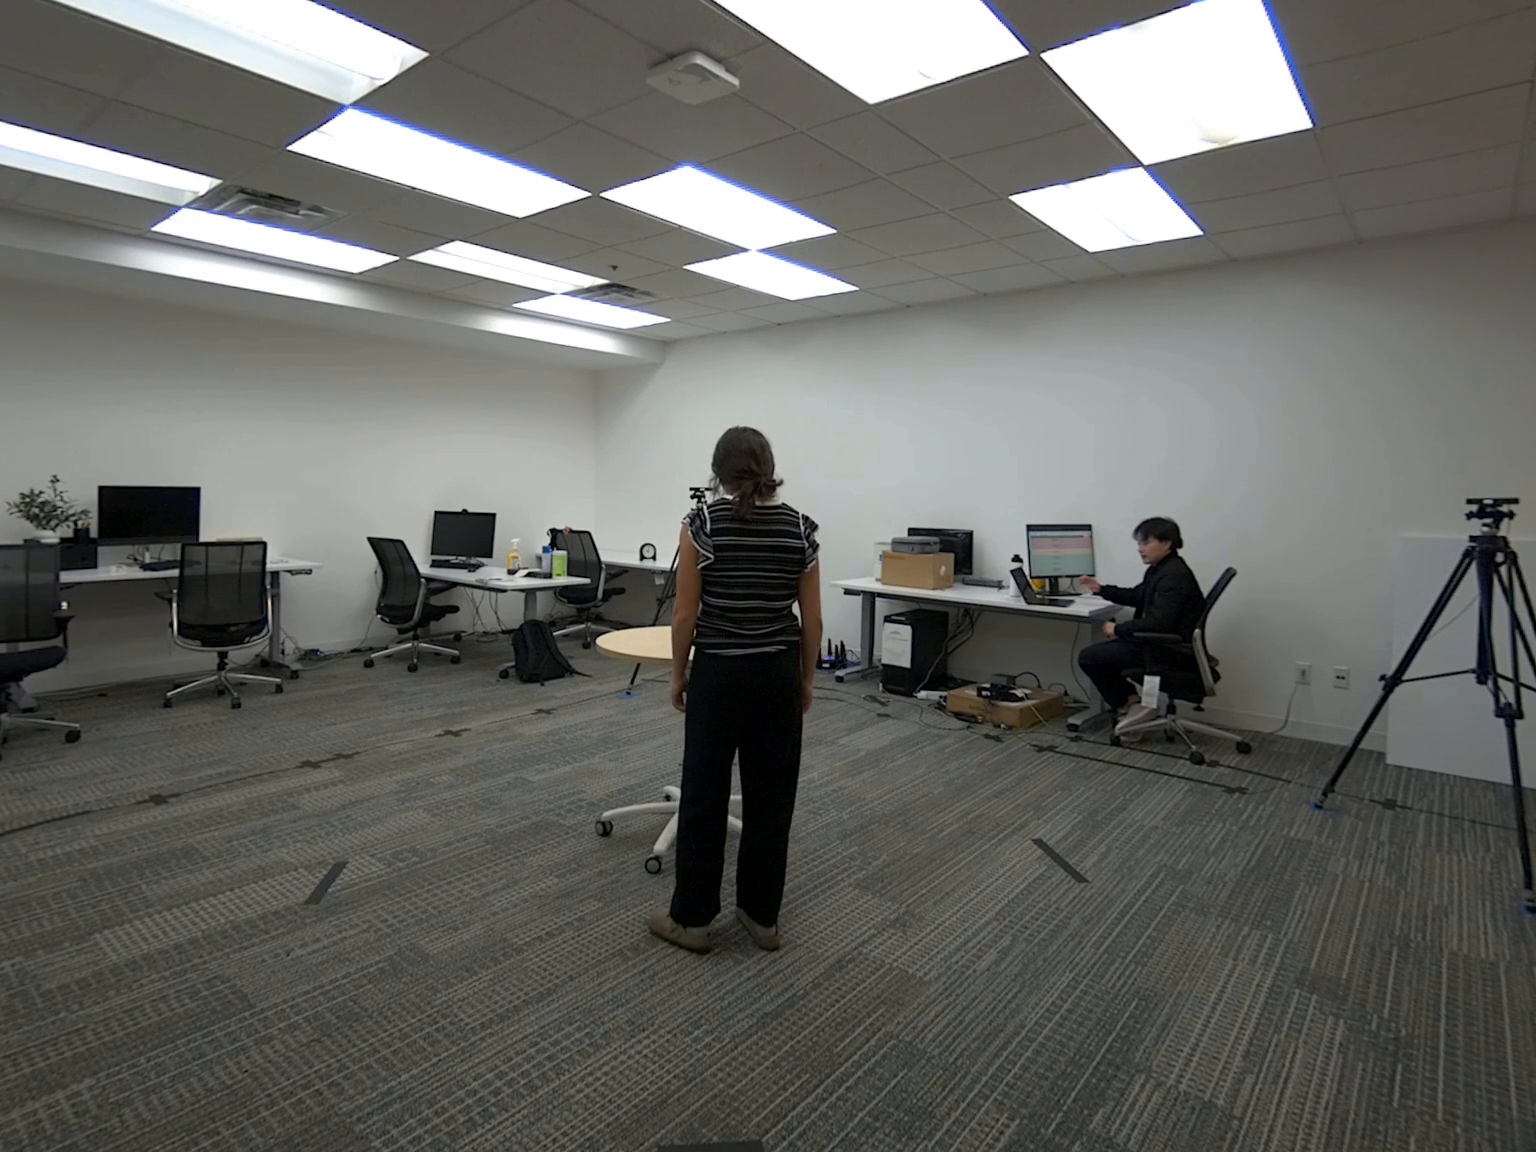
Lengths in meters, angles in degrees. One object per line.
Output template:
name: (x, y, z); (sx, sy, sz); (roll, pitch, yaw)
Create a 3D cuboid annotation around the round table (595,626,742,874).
round table: (-0.323, 0.642, 3.356); (0.784, 0.784, 0.789); (1, 4, -2)
